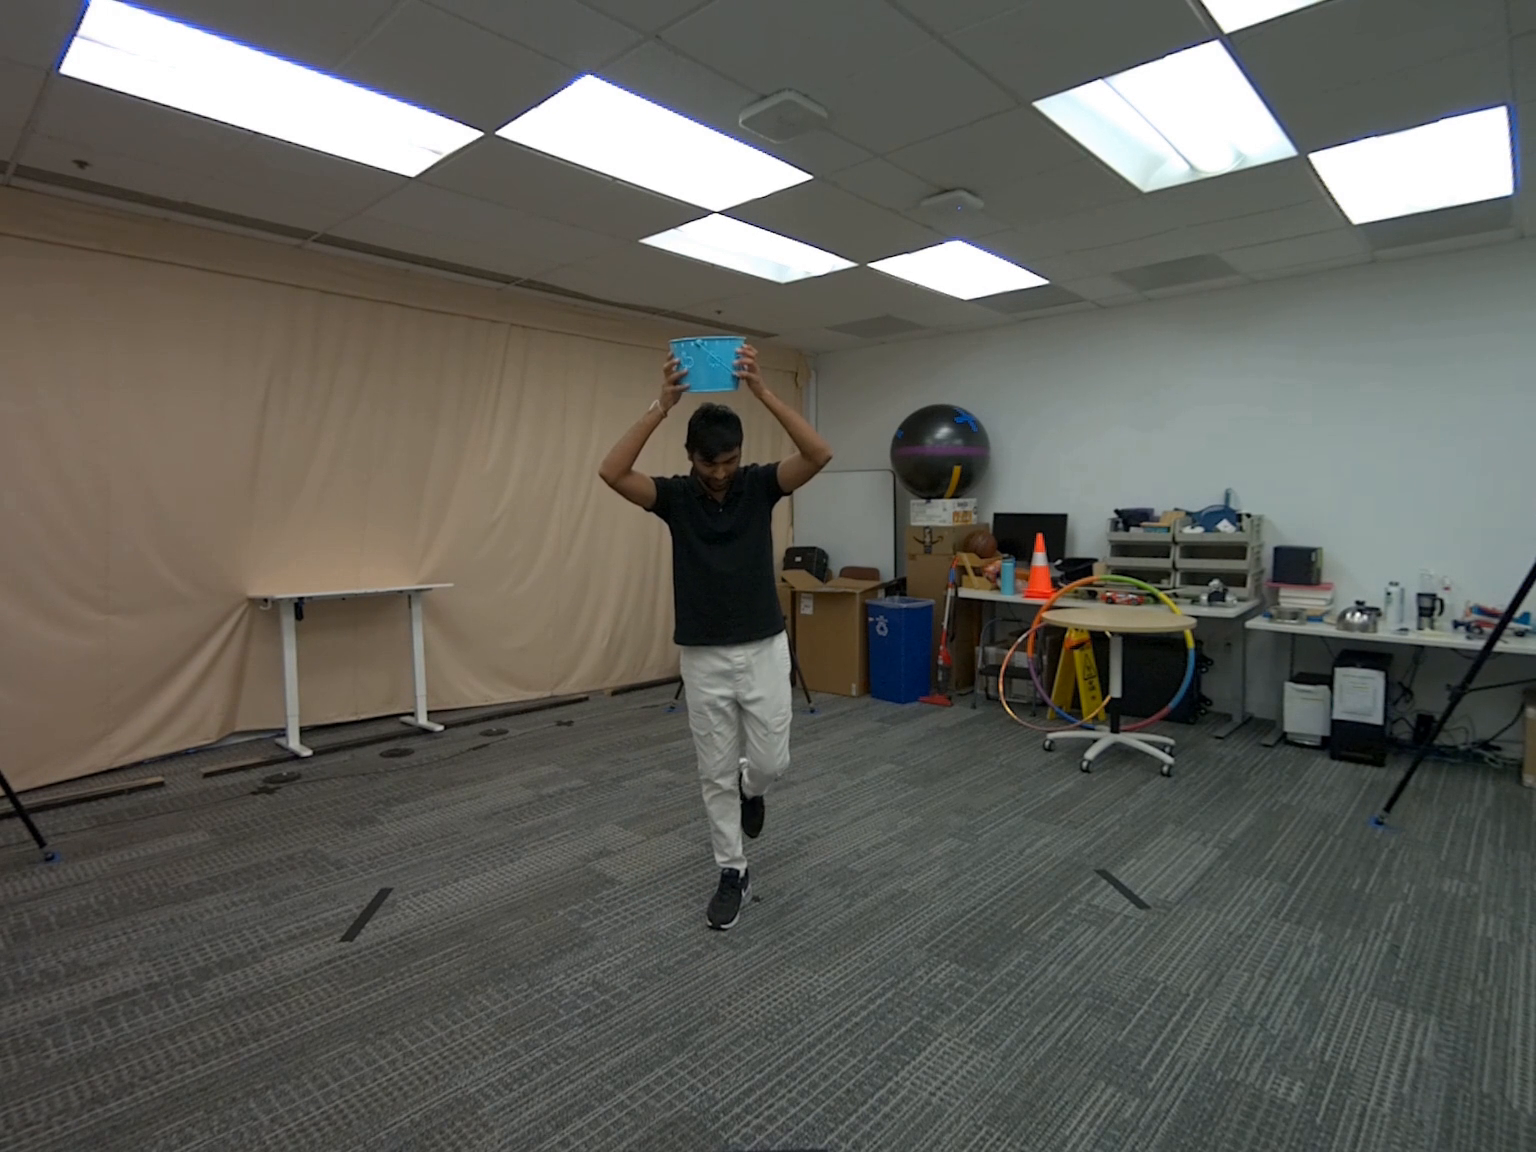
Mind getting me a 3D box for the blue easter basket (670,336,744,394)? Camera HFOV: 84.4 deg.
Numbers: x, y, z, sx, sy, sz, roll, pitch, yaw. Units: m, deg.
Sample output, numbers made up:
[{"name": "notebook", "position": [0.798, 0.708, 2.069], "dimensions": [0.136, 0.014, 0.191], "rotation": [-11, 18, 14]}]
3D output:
[{"name": "blue easter basket", "position": [-0.178, -0.638, 2.532], "dimensions": [0.243, 0.154, 0.246], "rotation": [-4, 14, -1]}]
